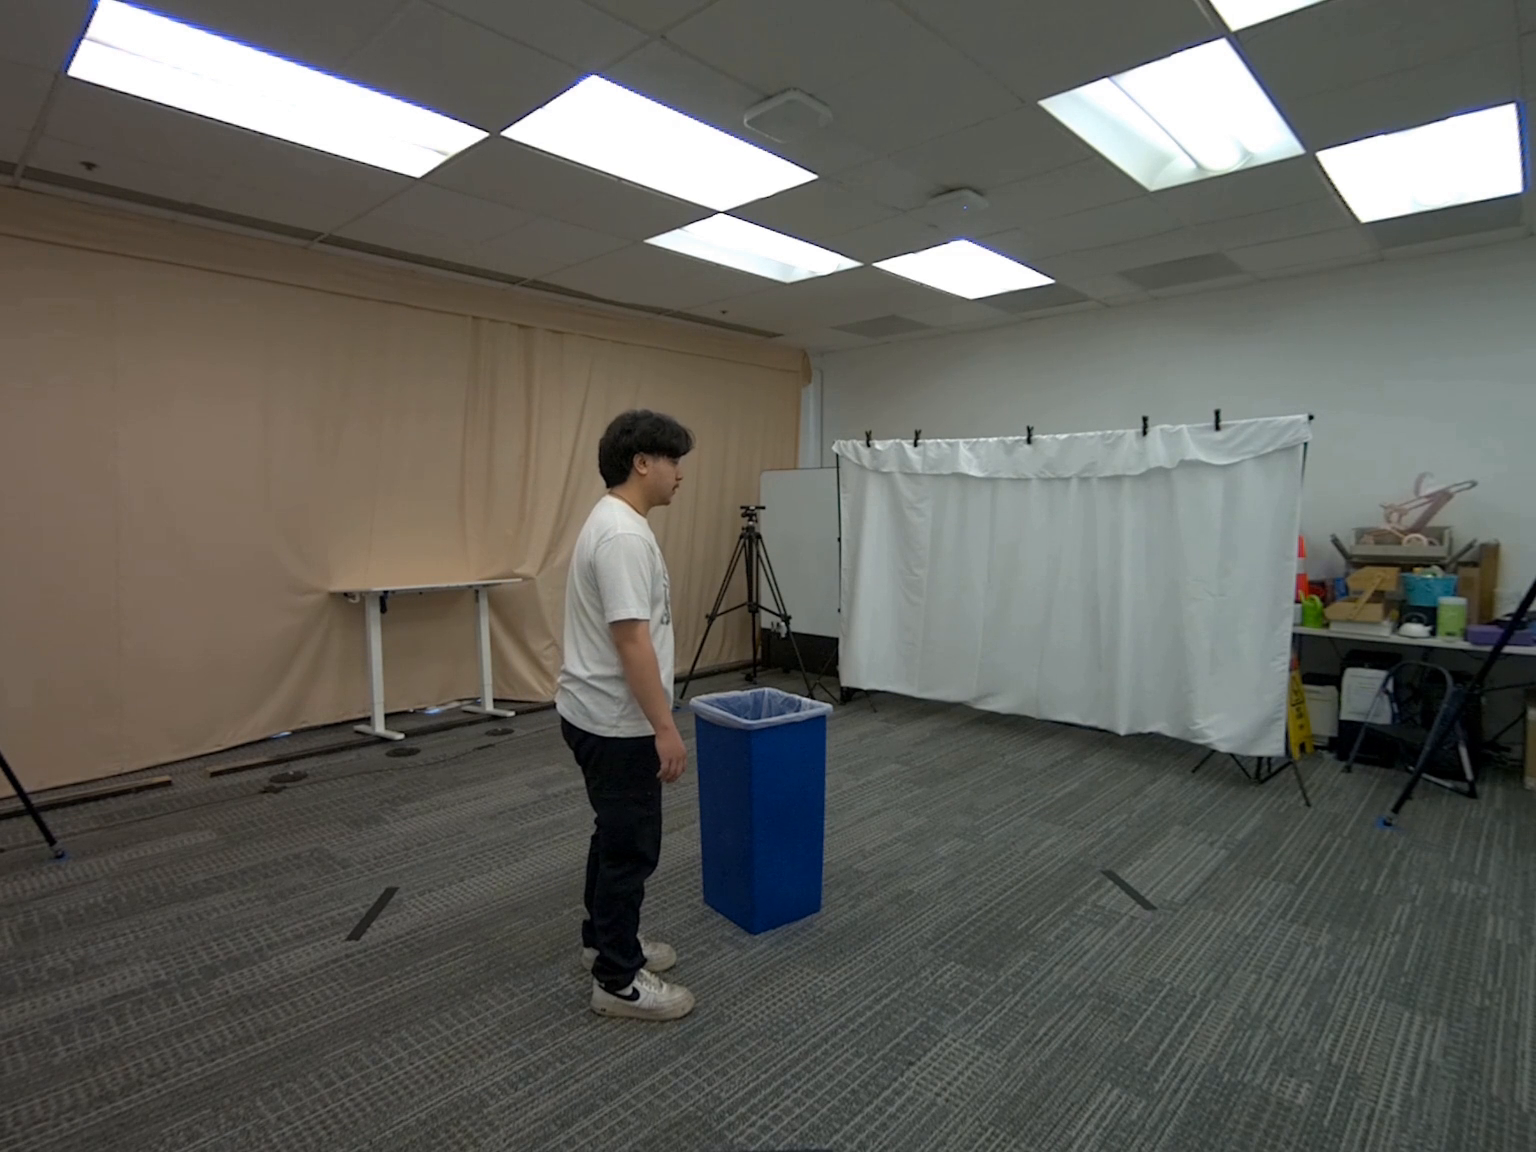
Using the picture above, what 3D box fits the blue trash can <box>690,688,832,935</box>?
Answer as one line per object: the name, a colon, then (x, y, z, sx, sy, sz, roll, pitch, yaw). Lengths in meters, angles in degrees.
blue trash can: (-0.026, 0.792, 2.908, 0.363, 0.712, 0.390, -2, 4, -37)
